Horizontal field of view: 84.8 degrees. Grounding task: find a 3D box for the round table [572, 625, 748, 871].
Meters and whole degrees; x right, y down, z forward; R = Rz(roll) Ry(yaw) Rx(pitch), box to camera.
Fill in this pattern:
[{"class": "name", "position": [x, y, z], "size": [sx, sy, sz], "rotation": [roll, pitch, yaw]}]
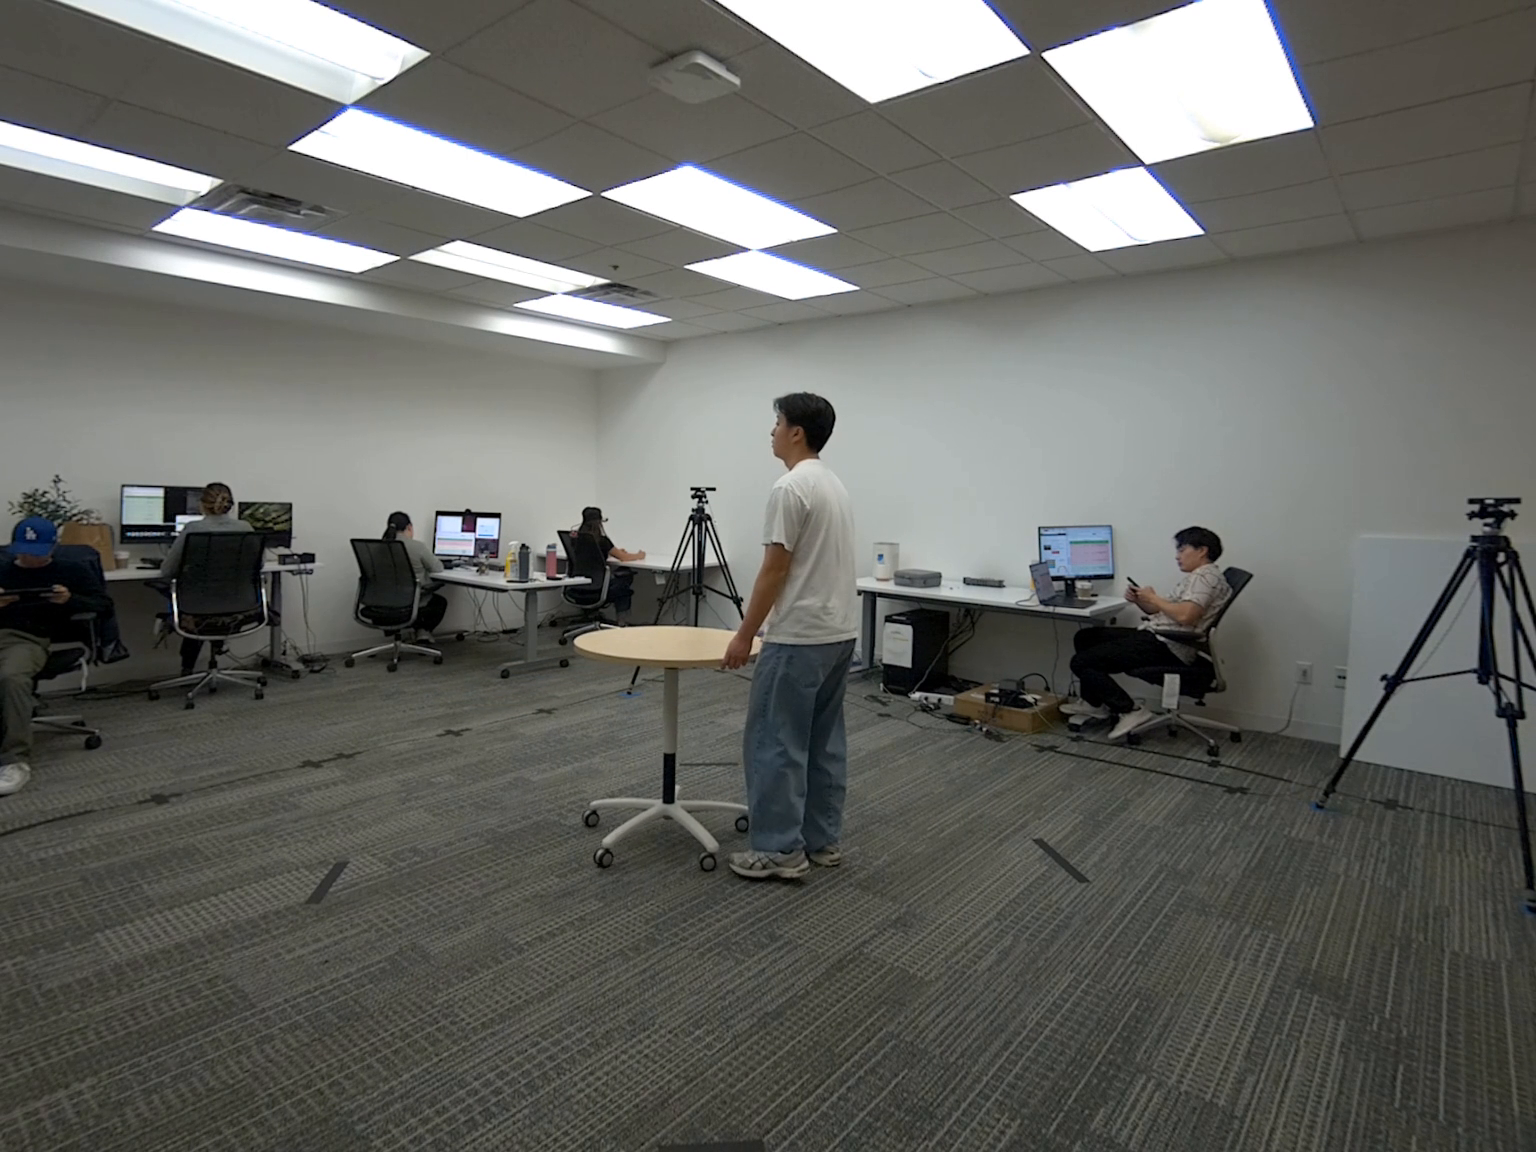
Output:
[{"class": "round table", "position": [-0.404, 0.648, 3.364], "size": [0.763, 0.792, 0.767], "rotation": [1, 4, -2]}]
